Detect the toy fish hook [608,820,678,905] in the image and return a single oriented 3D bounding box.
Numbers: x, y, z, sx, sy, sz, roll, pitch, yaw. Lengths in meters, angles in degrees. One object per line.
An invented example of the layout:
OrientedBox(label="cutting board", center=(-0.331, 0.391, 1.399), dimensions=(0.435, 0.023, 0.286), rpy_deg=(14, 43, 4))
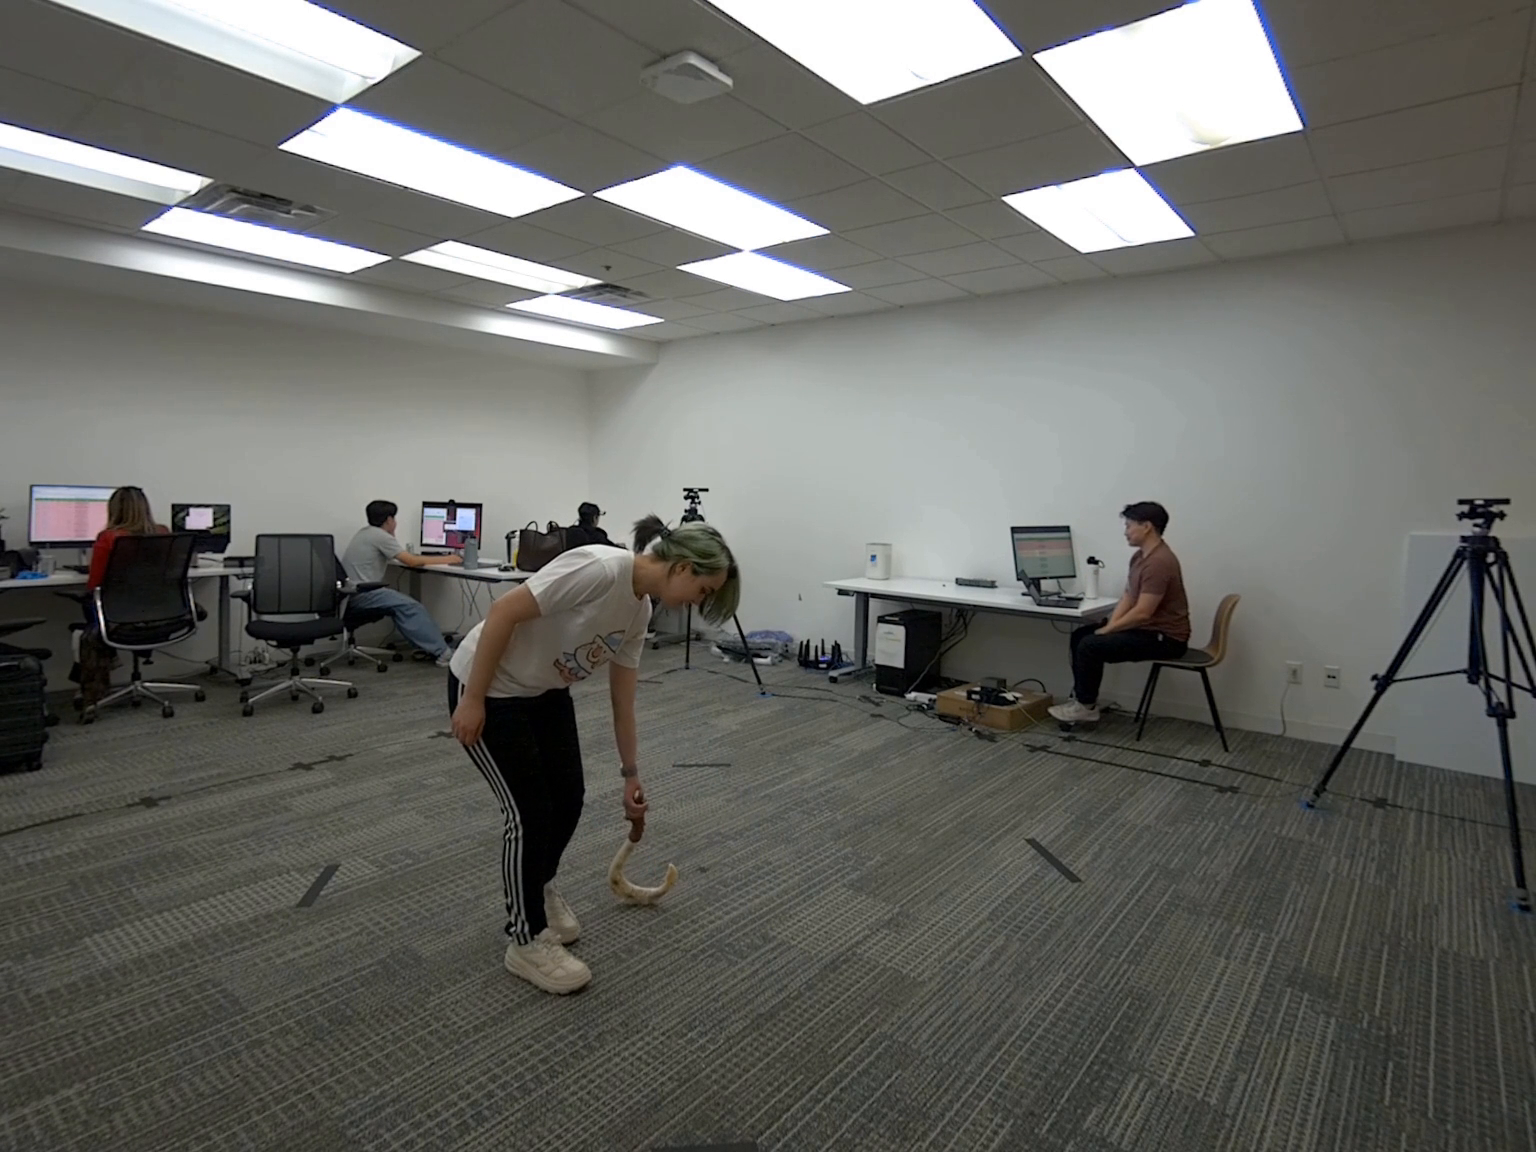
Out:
OrientedBox(label="toy fish hook", center=(-0.400, 0.876, 2.721), dimensions=(0.223, 0.496, 0.049), rpy_deg=(7, 31, -7))
